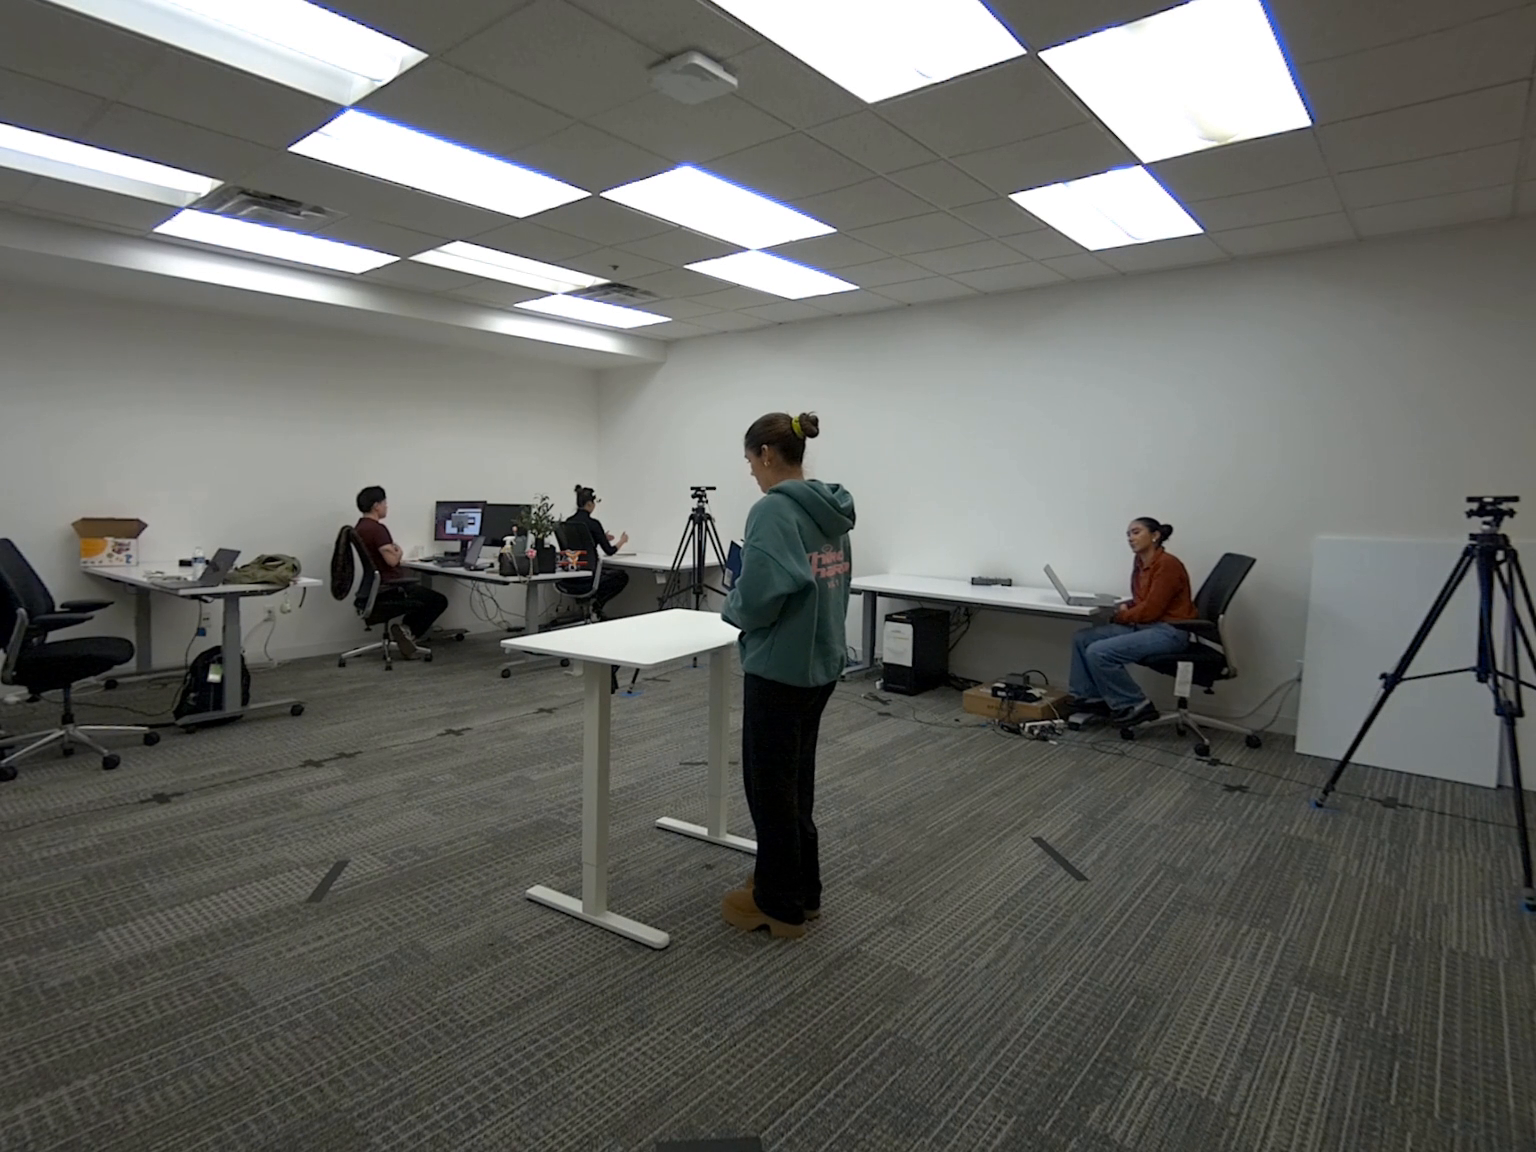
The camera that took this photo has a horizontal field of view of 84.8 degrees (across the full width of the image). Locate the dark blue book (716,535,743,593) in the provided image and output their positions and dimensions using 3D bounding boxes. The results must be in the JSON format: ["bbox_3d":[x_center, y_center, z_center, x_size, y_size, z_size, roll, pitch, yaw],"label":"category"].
[{"bbox_3d":[-0.053,0.000,2.583,0.044,0.161,0.255,-8,29,-41],"label":"dark blue book"}]
